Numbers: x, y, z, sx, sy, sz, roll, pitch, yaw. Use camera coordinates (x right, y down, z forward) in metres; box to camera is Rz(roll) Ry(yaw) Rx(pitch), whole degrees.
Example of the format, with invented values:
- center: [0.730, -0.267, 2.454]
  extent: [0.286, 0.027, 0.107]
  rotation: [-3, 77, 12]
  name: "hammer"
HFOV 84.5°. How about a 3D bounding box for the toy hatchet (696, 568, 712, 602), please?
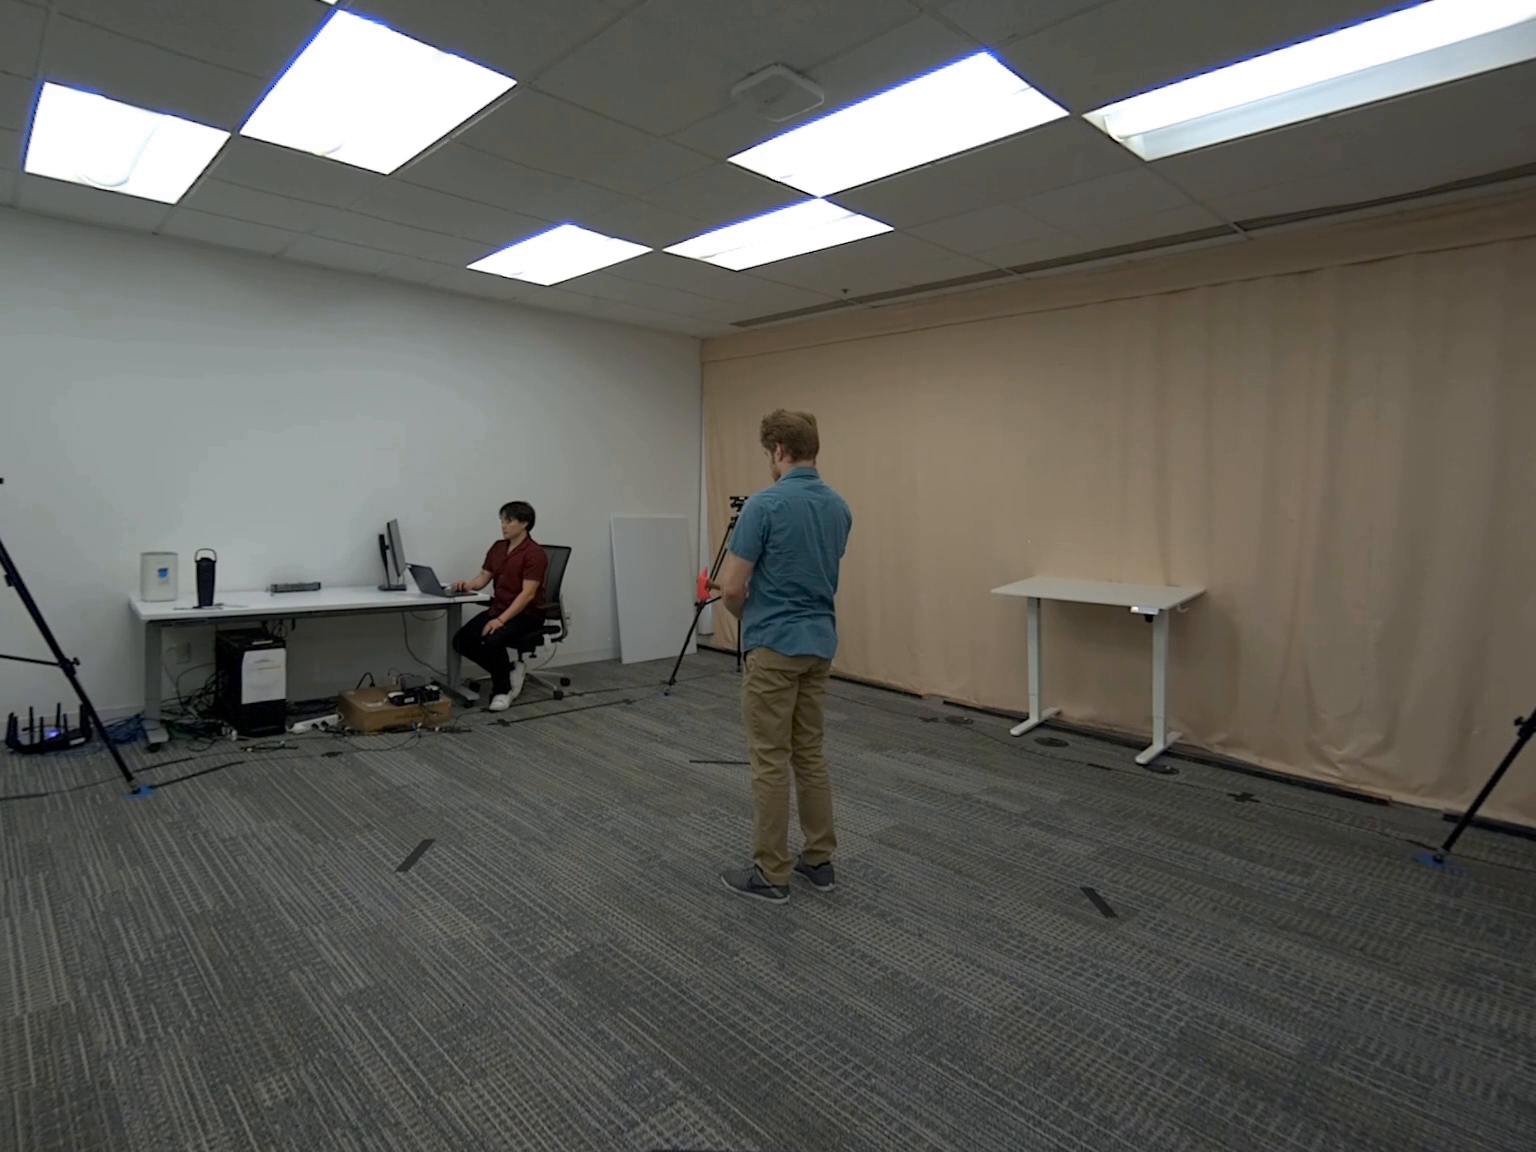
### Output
- center: [-0.191, 0.081, 3.349]
  extent: [0.277, 0.130, 0.029]
  rotation: [37, 23, 26]
  name: "toy hatchet"
